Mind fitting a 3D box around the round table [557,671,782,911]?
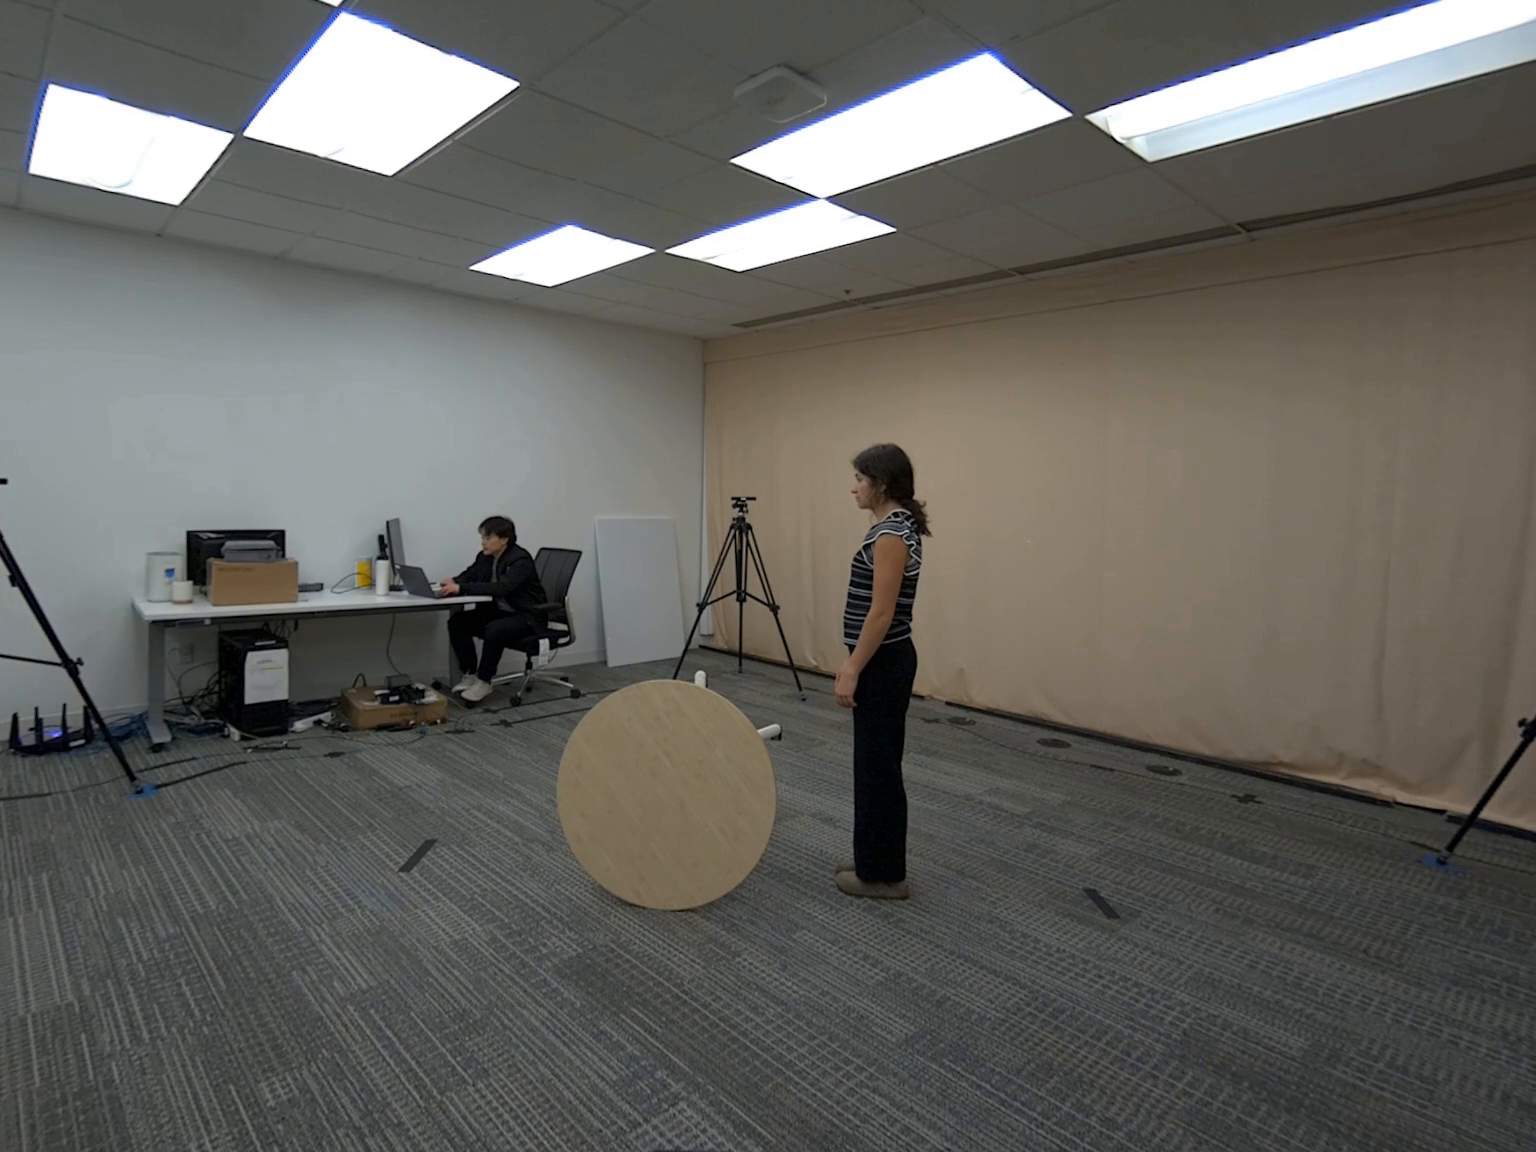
[{"bbox_3d":[-0.323,0.760,3.256,0.769,0.765,0.787,2,-2,7],"label":"round table"}]
